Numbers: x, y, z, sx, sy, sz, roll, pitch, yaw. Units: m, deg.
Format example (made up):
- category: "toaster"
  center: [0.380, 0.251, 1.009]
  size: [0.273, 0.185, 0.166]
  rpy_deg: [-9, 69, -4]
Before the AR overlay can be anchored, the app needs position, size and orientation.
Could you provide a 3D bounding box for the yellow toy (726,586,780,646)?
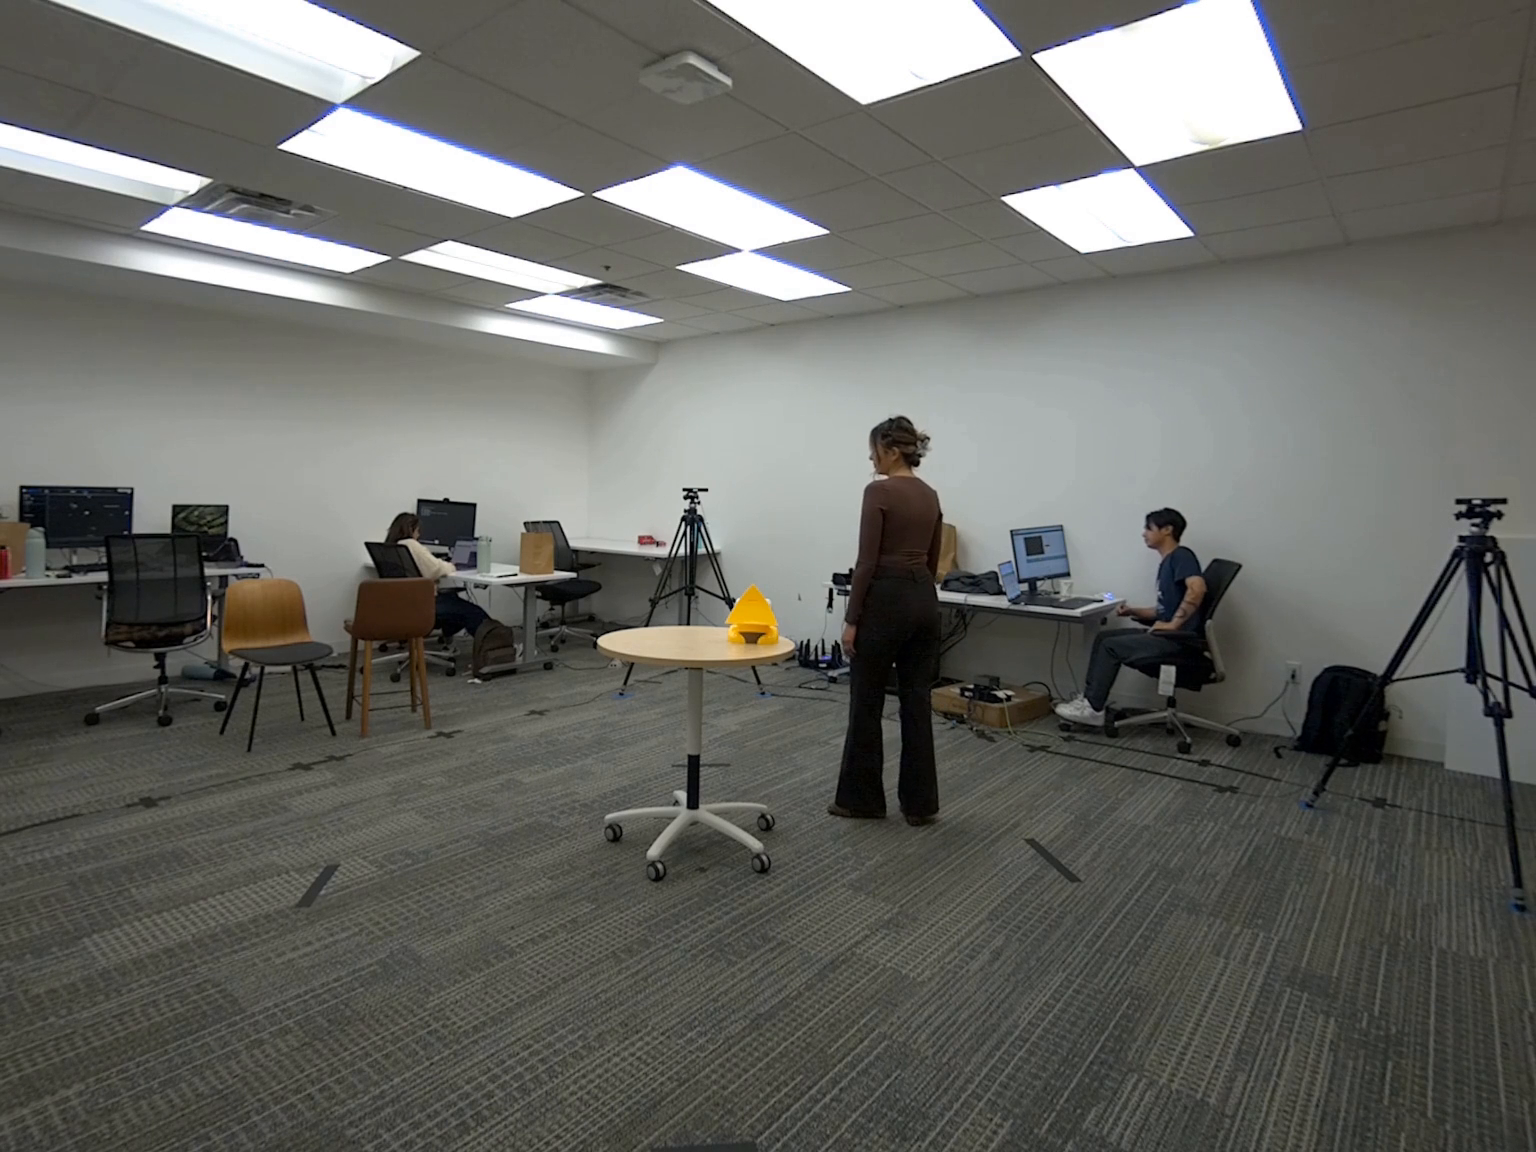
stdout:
- category: "yellow toy"
  center: [-0.065, 0.136, 3.348]
  size: [0.206, 0.230, 0.192]
  rpy_deg: [2, 5, 6]
